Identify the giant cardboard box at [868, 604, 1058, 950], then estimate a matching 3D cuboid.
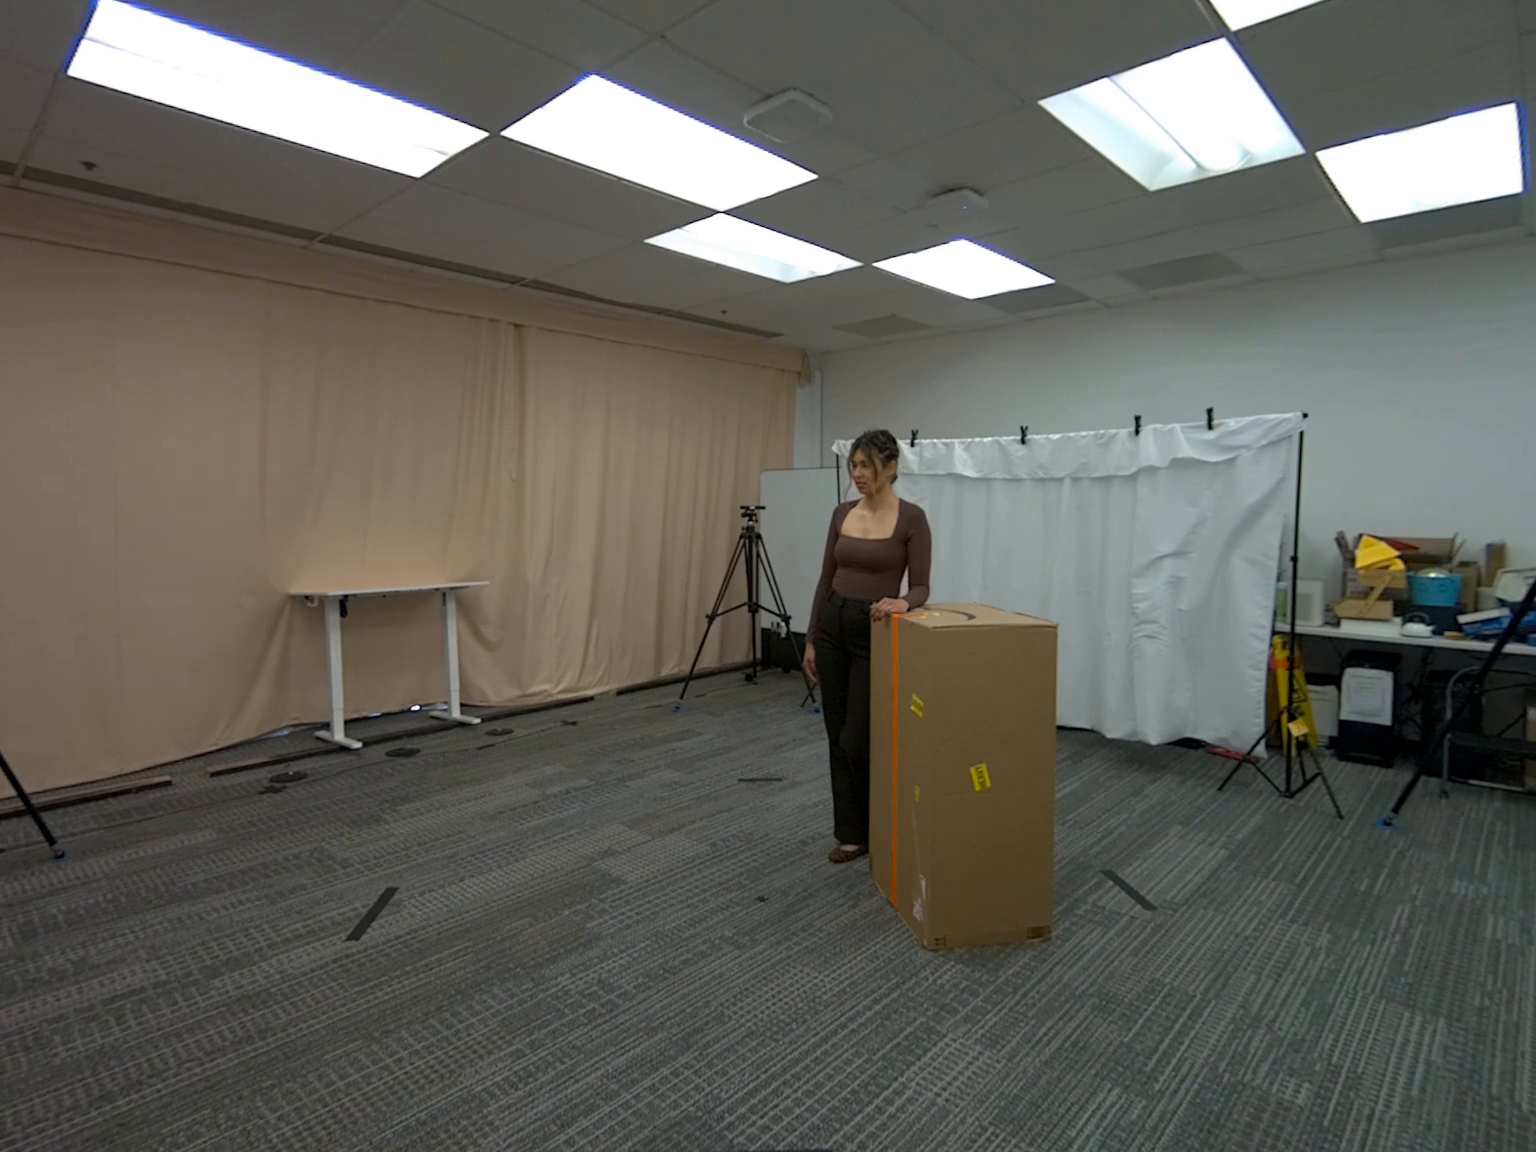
[{"bbox_3d":[0.652,0.639,2.910,0.442,1.025,0.592,-1,3,-11],"label":"giant cardboard box"}]
